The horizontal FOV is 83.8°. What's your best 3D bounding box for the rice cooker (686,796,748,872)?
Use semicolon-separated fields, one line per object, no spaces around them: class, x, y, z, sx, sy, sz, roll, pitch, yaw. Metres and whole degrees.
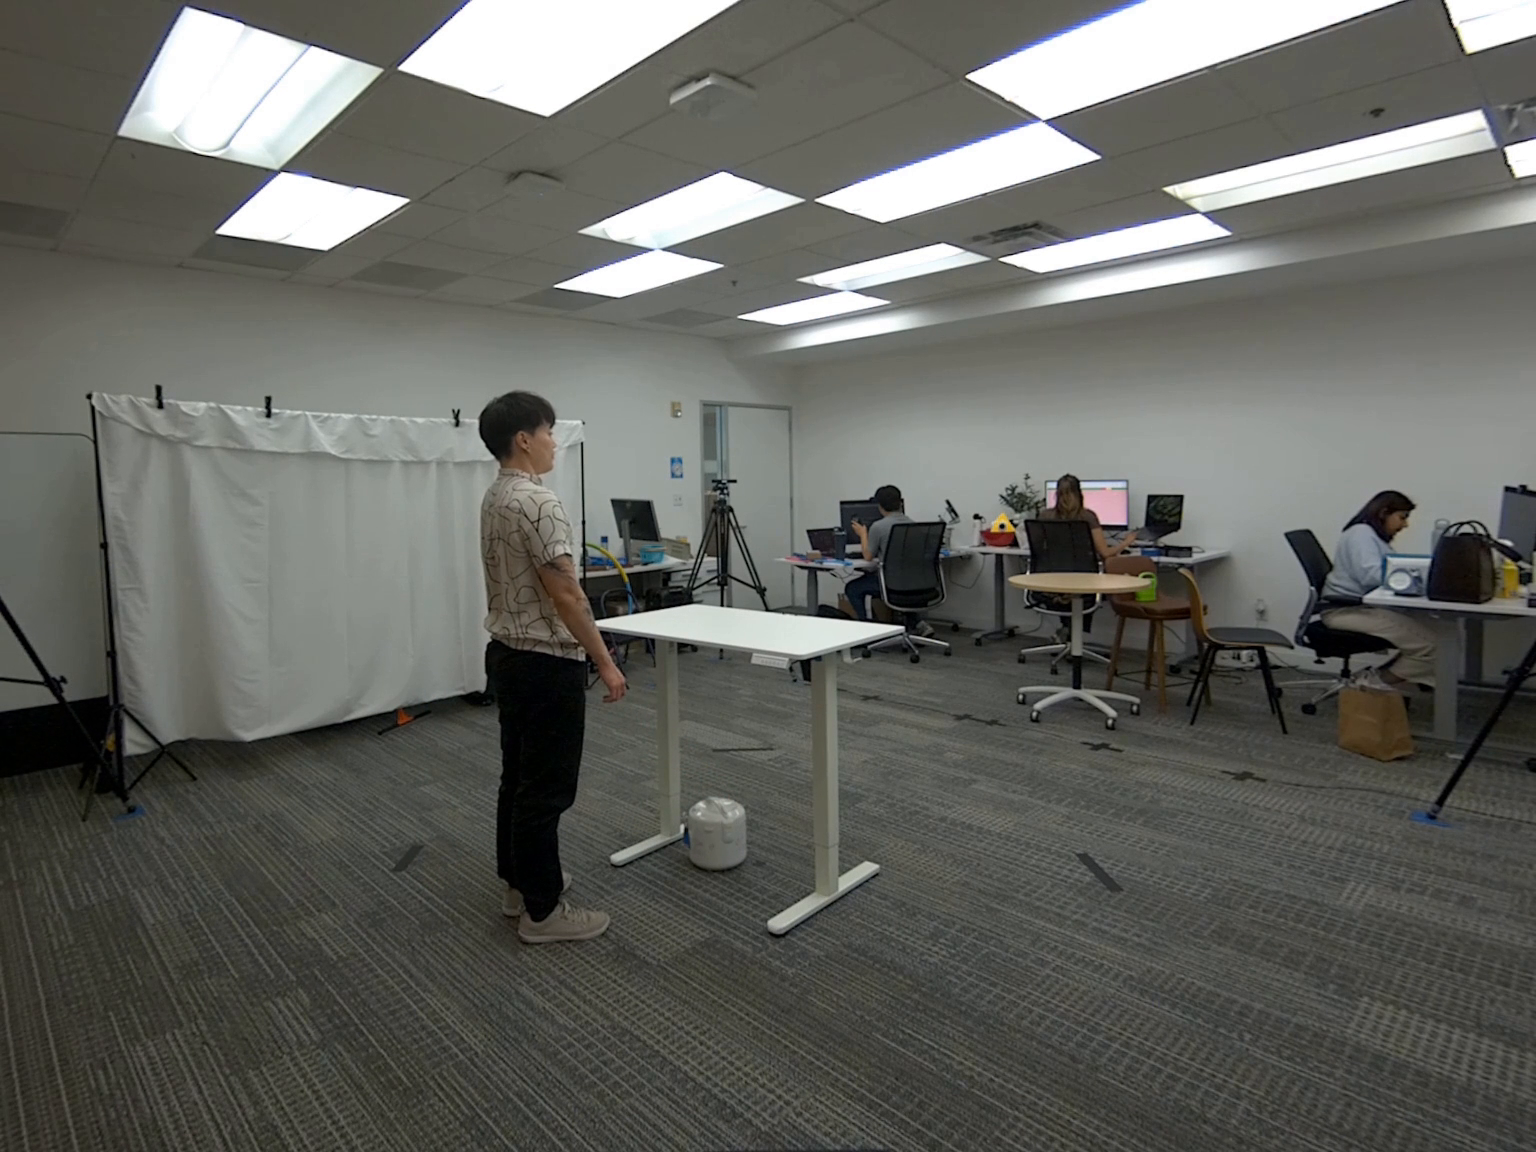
rice cooker;-0.180;0.931;3.128;0.213;0.232;0.226;-4;6;-24
